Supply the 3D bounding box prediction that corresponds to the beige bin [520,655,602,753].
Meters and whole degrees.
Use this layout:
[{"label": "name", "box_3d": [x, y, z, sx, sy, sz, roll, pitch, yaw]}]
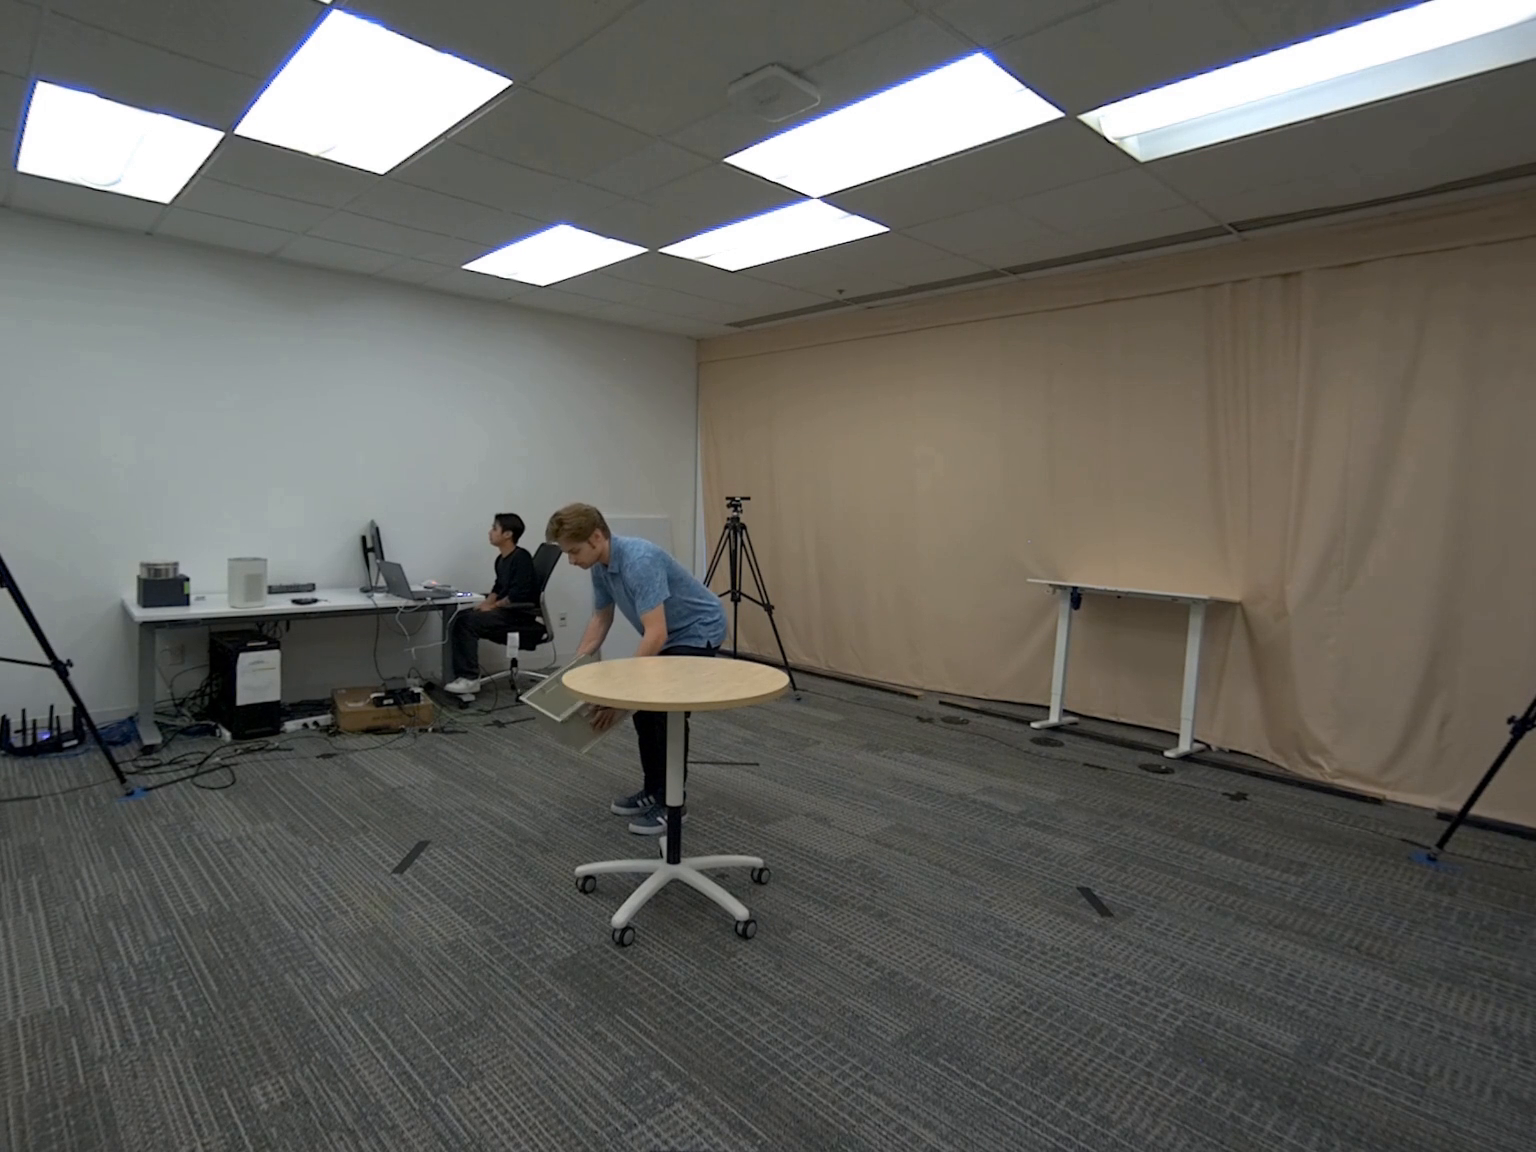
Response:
[{"label": "beige bin", "box_3d": [-0.764, 0.511, 3.483, 0.375, 0.185, 0.433, -38, 25, -27]}]
